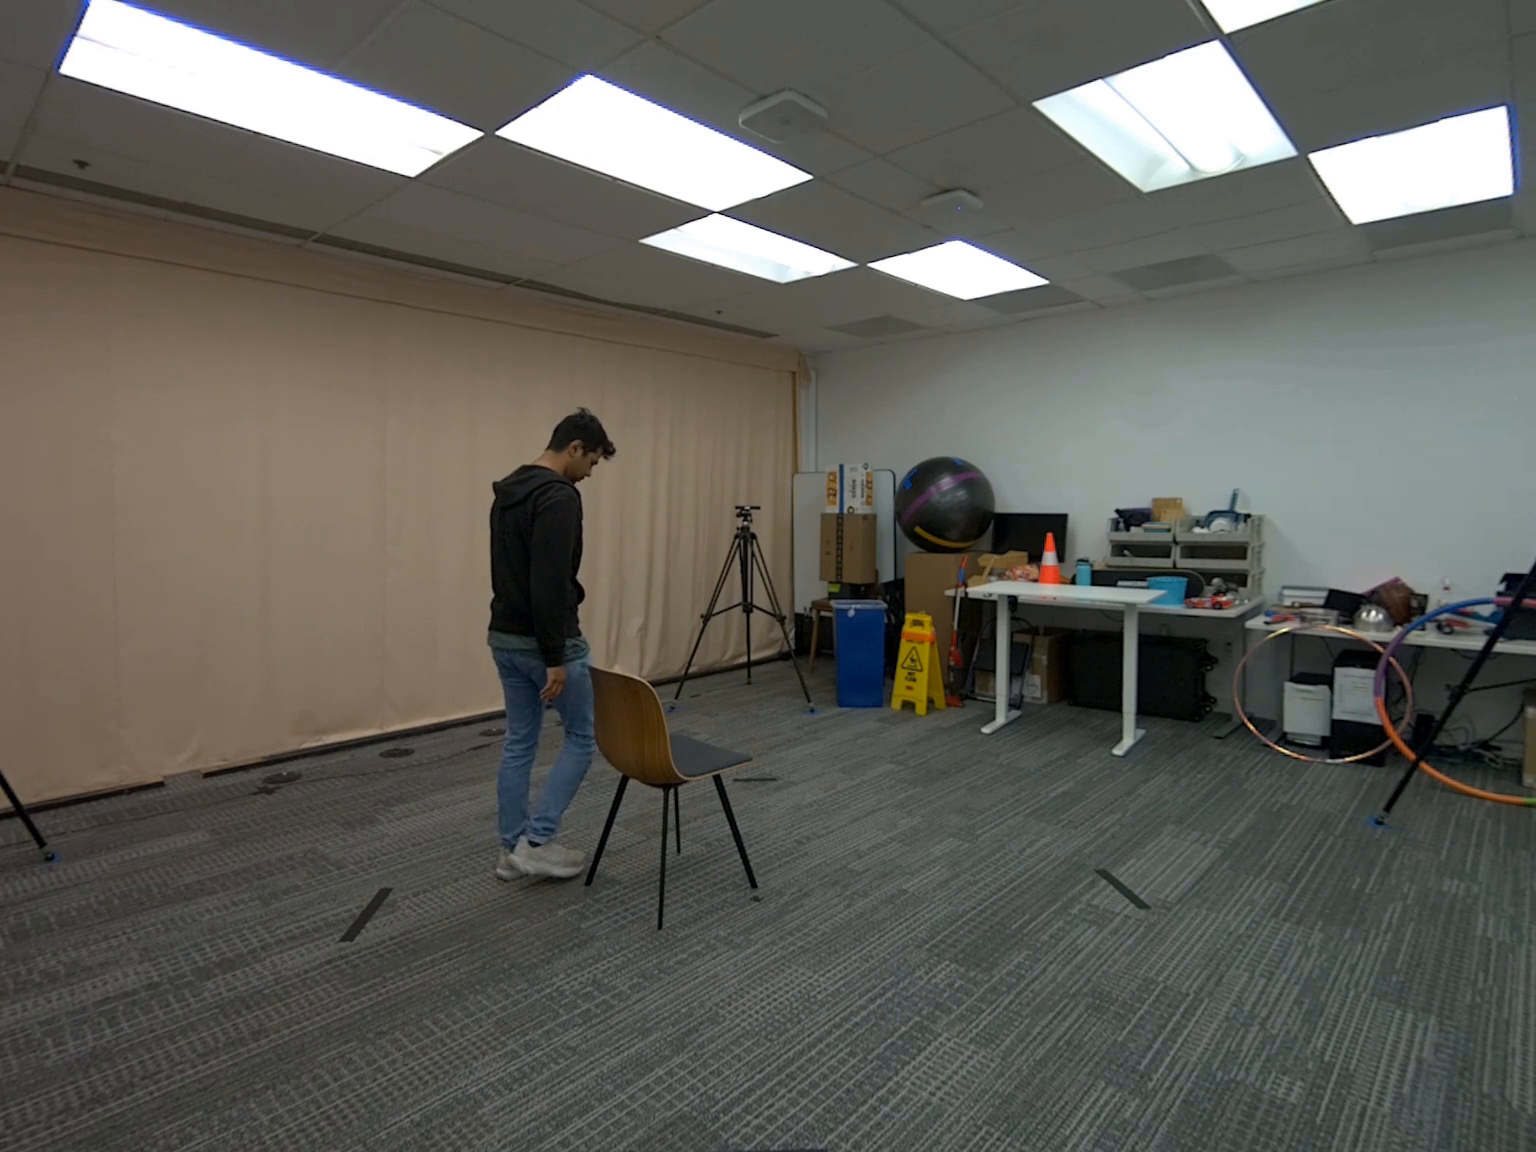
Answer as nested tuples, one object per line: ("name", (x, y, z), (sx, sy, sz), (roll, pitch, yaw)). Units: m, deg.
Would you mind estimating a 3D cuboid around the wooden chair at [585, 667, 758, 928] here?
("wooden chair", (-0.346, 0.715, 3.051), (0.508, 0.874, 0.494), (-9, 8, -43))
